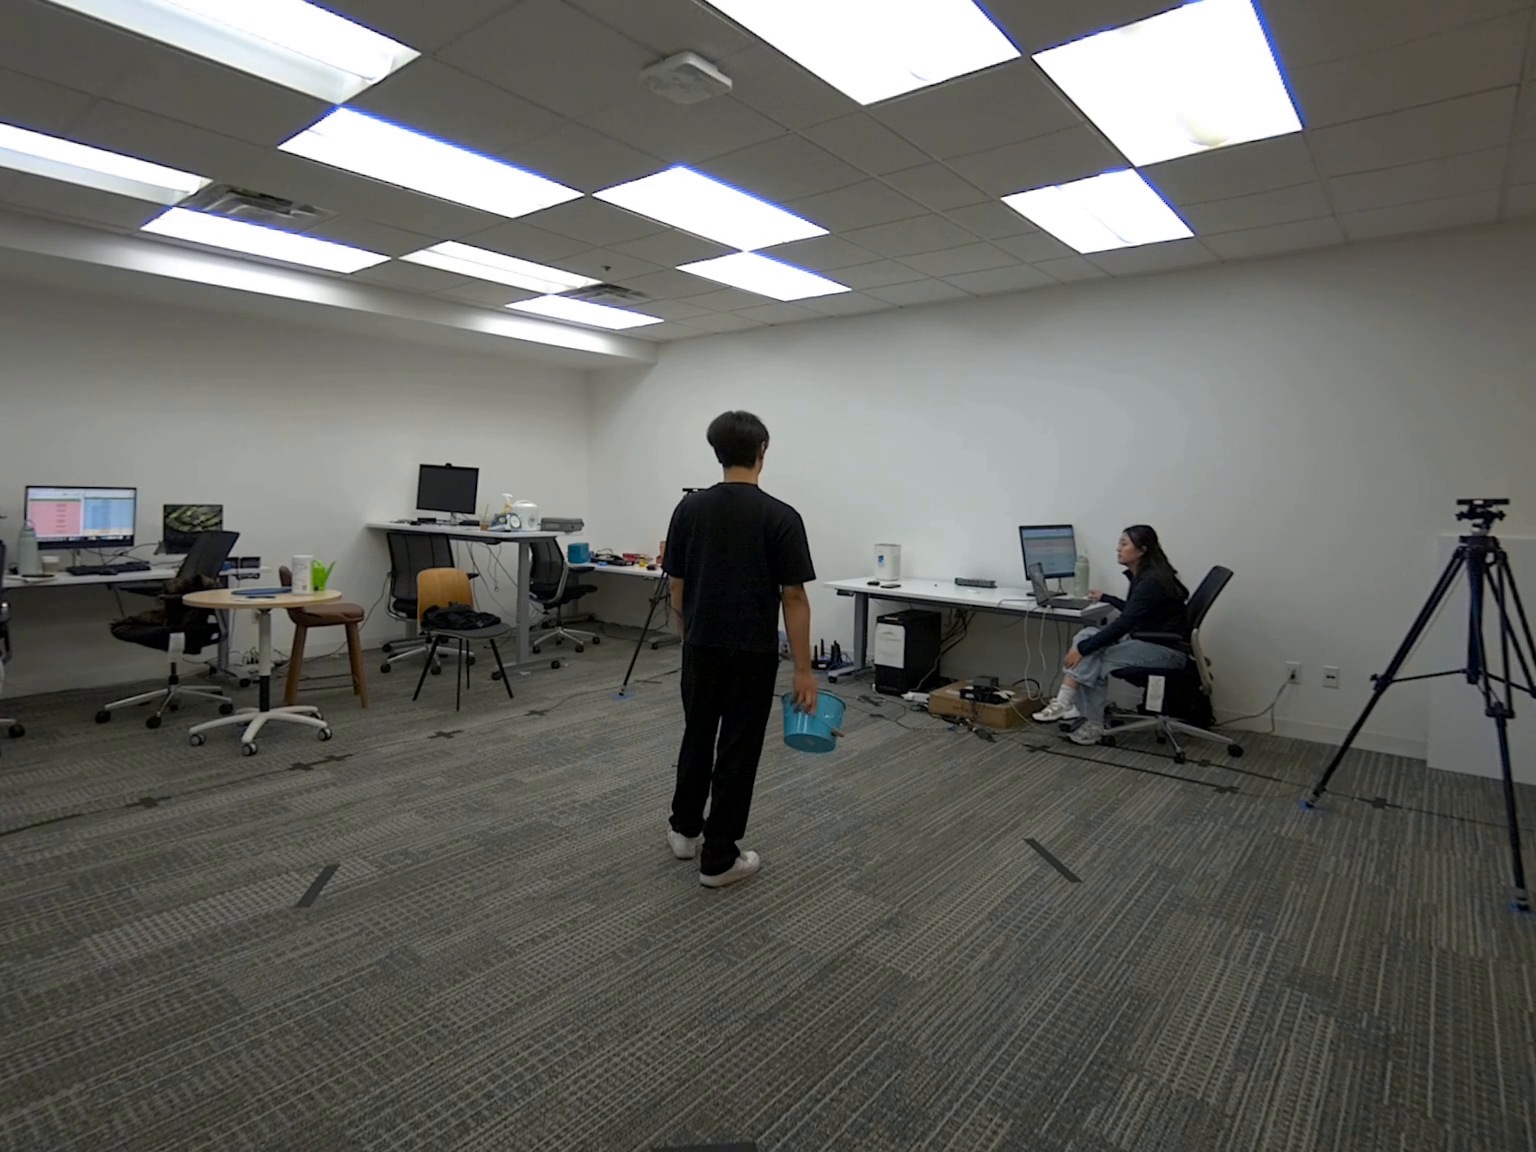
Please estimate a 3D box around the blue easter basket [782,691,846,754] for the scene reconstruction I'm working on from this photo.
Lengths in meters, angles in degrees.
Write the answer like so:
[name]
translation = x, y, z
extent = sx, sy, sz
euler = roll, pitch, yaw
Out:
[blue easter basket]
translation = 0.148, 0.505, 3.014
extent = 0.245, 0.159, 0.237
euler = 8, -31, 3
